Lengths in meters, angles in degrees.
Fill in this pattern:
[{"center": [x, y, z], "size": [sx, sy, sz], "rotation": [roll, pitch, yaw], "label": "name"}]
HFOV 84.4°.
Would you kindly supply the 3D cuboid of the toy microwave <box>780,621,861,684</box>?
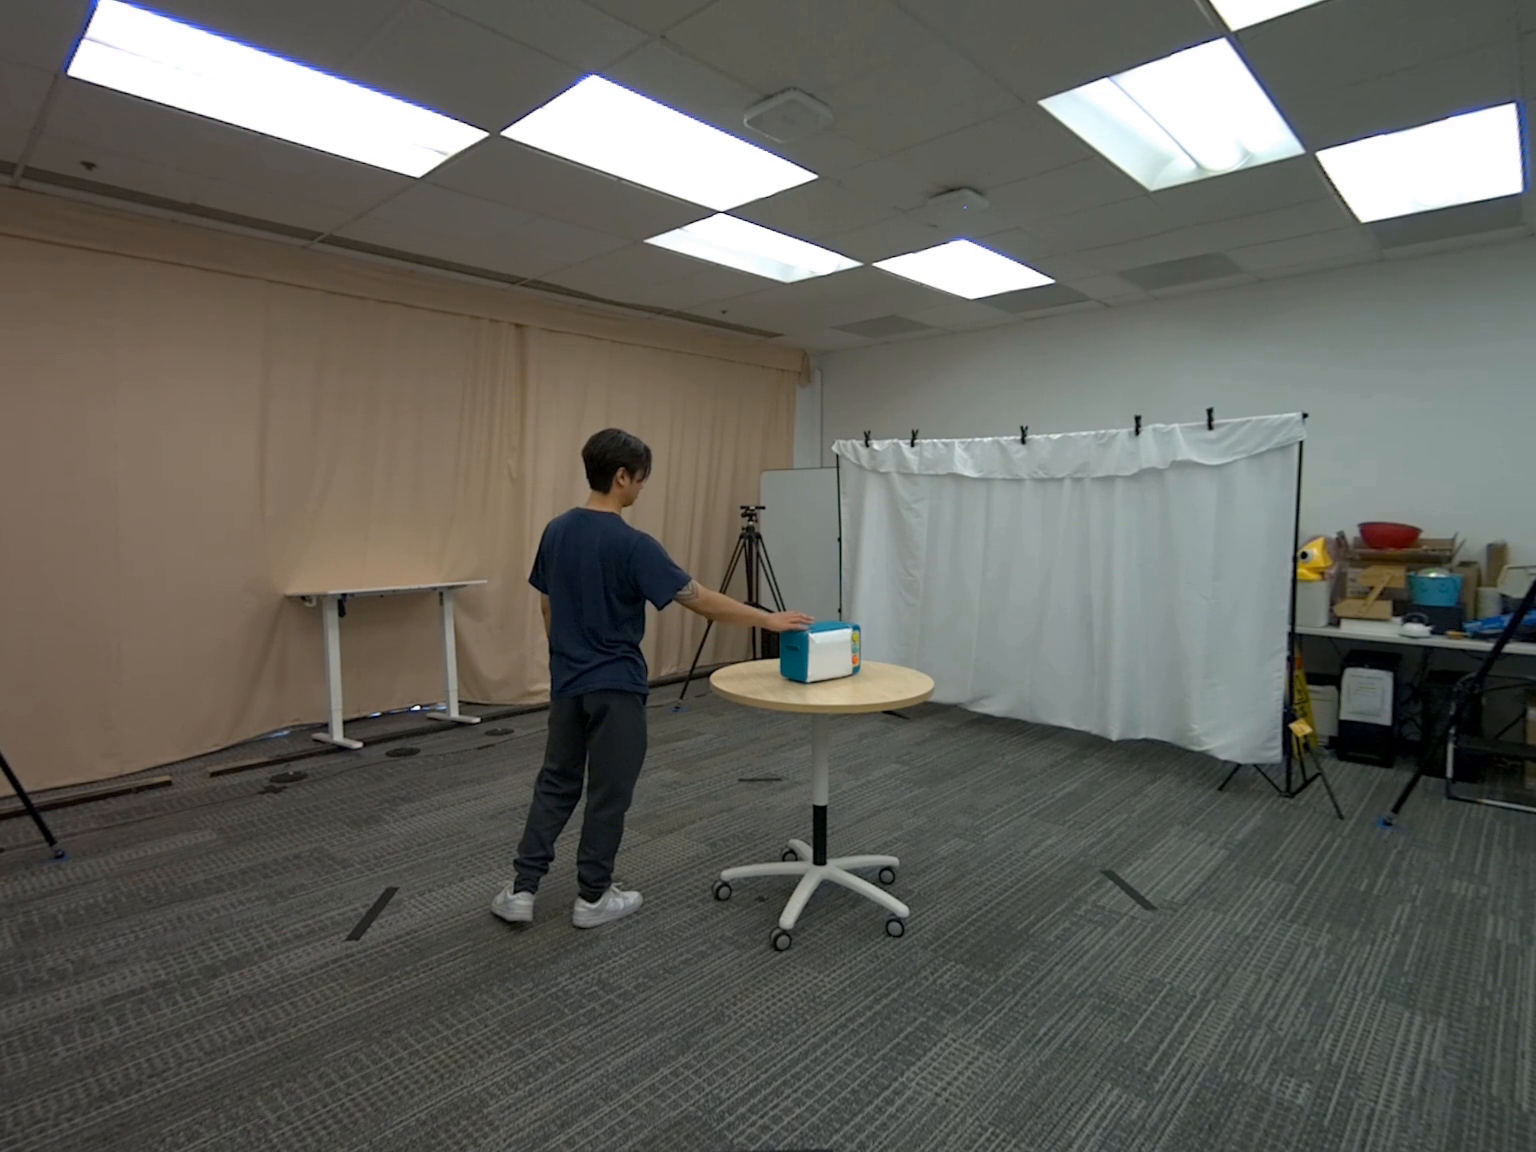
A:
[{"center": [0.195, 0.261, 2.919], "size": [0.278, 0.184, 0.157], "rotation": [-4, 5, -37], "label": "toy microwave"}]
